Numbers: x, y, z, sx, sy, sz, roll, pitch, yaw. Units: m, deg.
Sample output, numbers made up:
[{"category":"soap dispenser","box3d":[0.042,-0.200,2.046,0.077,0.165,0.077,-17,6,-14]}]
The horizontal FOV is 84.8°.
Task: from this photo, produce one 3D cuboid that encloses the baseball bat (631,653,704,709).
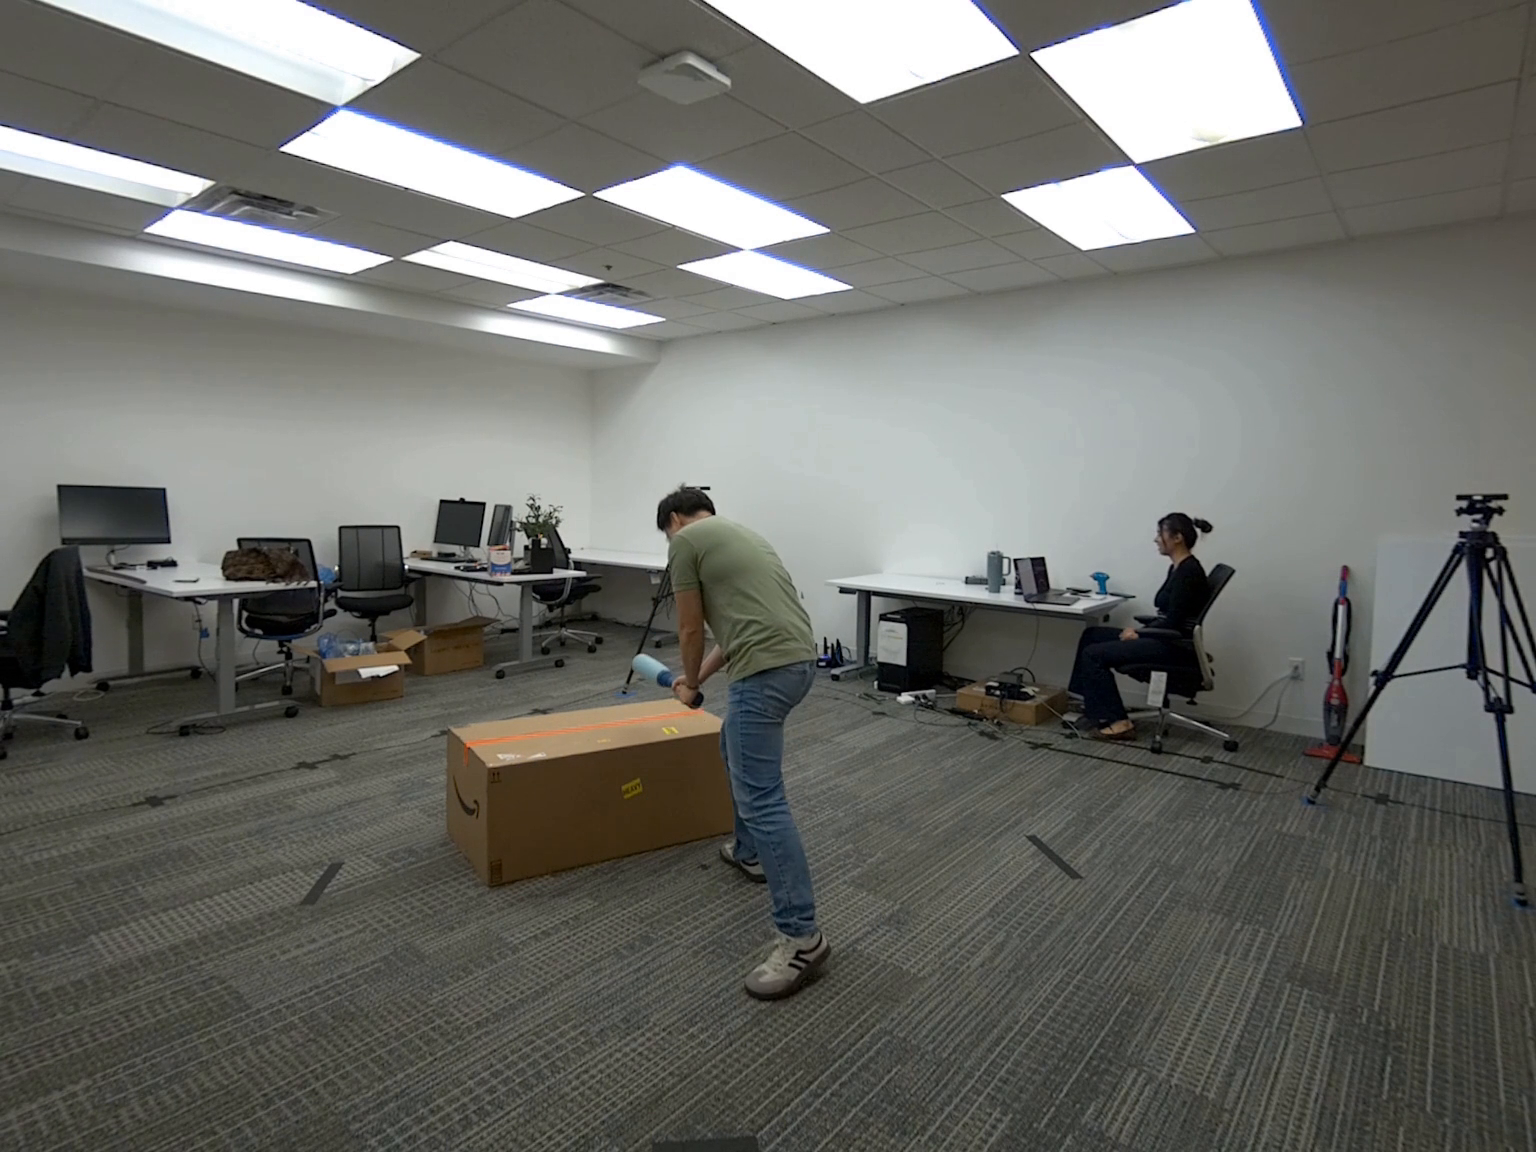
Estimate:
[{"category":"baseball bat","box3d":[-0.398,0.385,3.241,0.087,0.088,0.559,-1,9,-25]}]
